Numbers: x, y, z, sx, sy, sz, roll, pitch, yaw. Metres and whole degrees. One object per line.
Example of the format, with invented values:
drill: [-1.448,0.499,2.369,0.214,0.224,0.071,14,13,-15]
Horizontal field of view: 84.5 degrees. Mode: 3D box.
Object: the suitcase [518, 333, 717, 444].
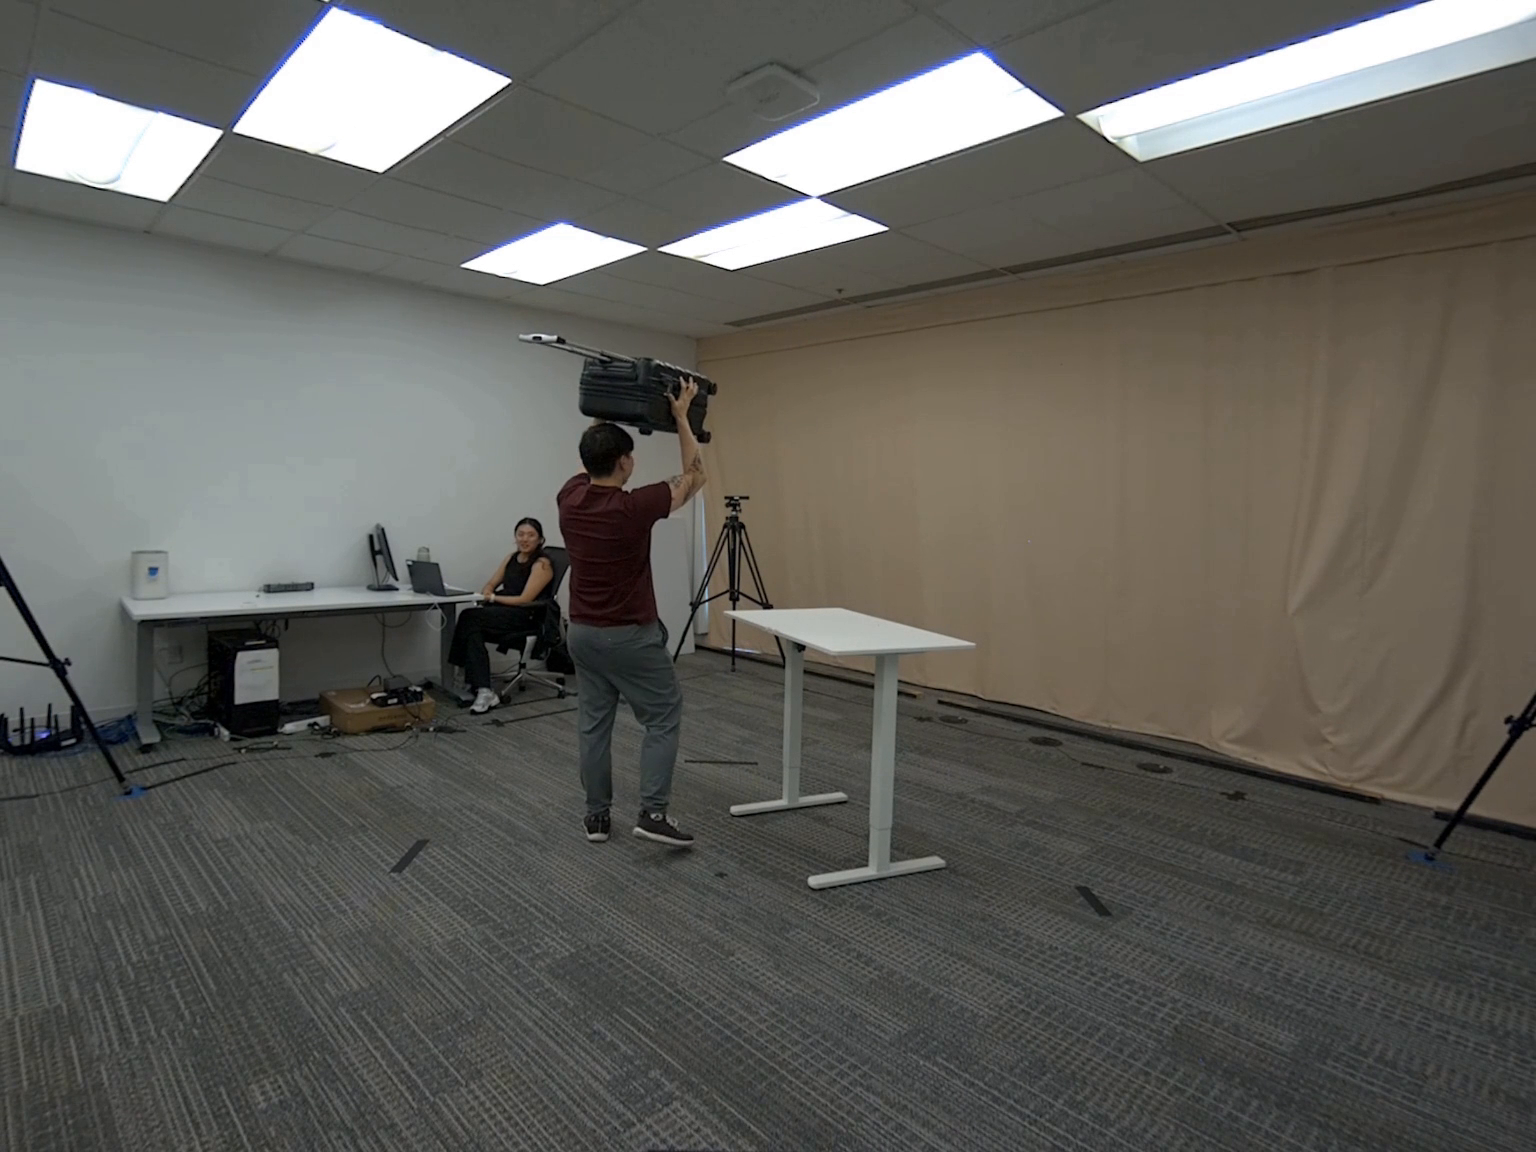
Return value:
suitcase: [-0.571,-0.708,3.205,0.392,0.256,0.962,9,6,23]
